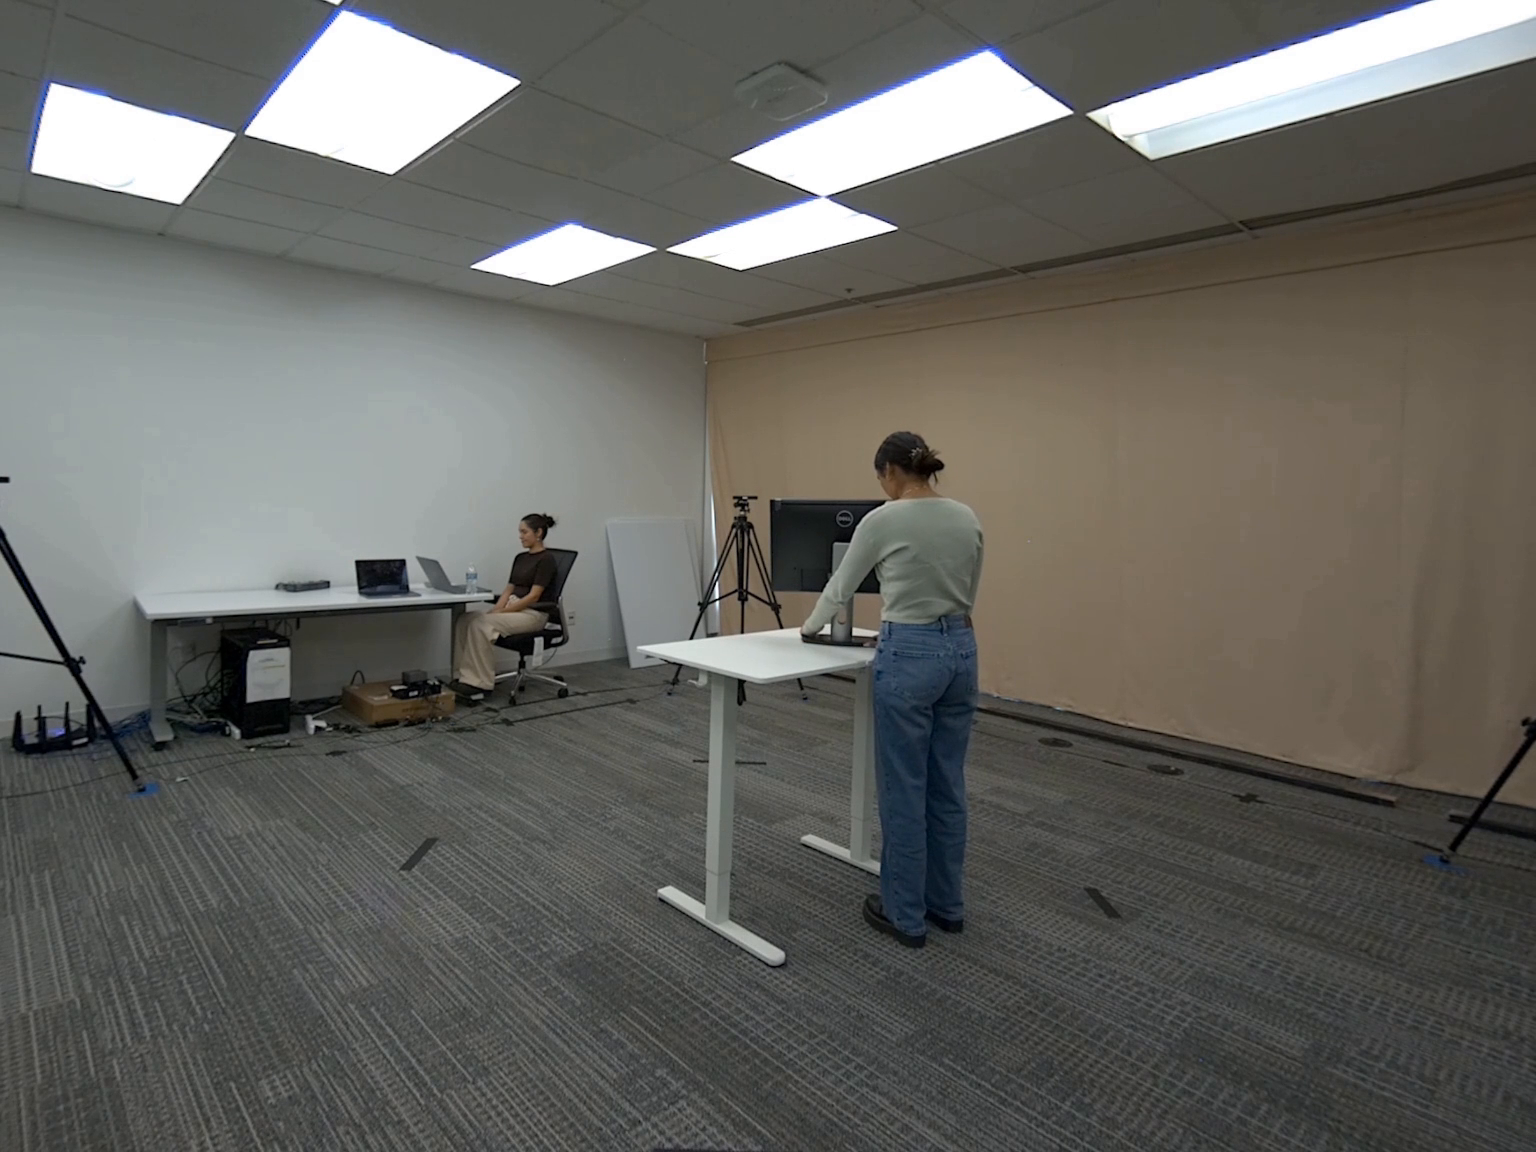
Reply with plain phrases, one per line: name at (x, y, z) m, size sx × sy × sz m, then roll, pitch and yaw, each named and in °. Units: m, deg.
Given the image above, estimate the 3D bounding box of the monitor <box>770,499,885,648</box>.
monitor at (0.277, -0.016, 3.004) m, size 0.534 × 0.516 × 0.173 m, roll 1°, pitch -1°, yaw 9°
